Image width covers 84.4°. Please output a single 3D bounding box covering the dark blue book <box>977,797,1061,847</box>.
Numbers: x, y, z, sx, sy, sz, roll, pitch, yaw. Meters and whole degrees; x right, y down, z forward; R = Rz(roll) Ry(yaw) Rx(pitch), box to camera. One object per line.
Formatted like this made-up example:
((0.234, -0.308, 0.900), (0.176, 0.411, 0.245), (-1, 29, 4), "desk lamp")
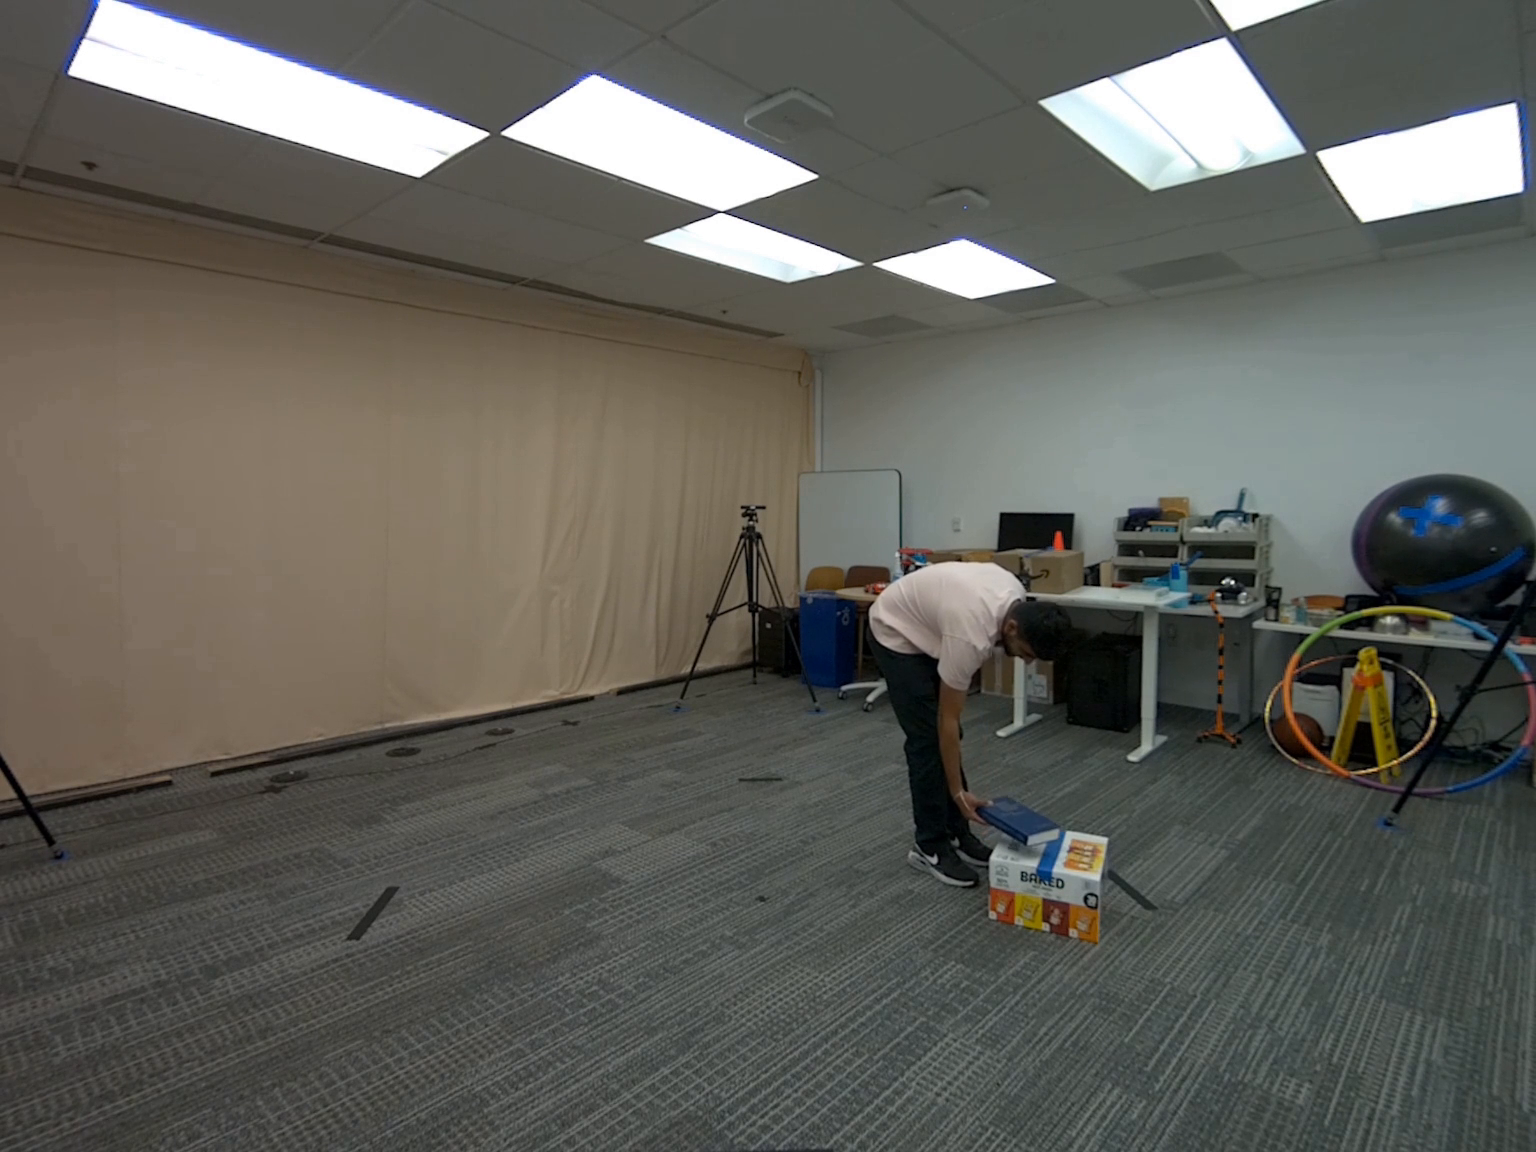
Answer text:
((0.874, 0.851, 2.928), (0.159, 0.045, 0.253), (-3, 13, -31), "dark blue book")
